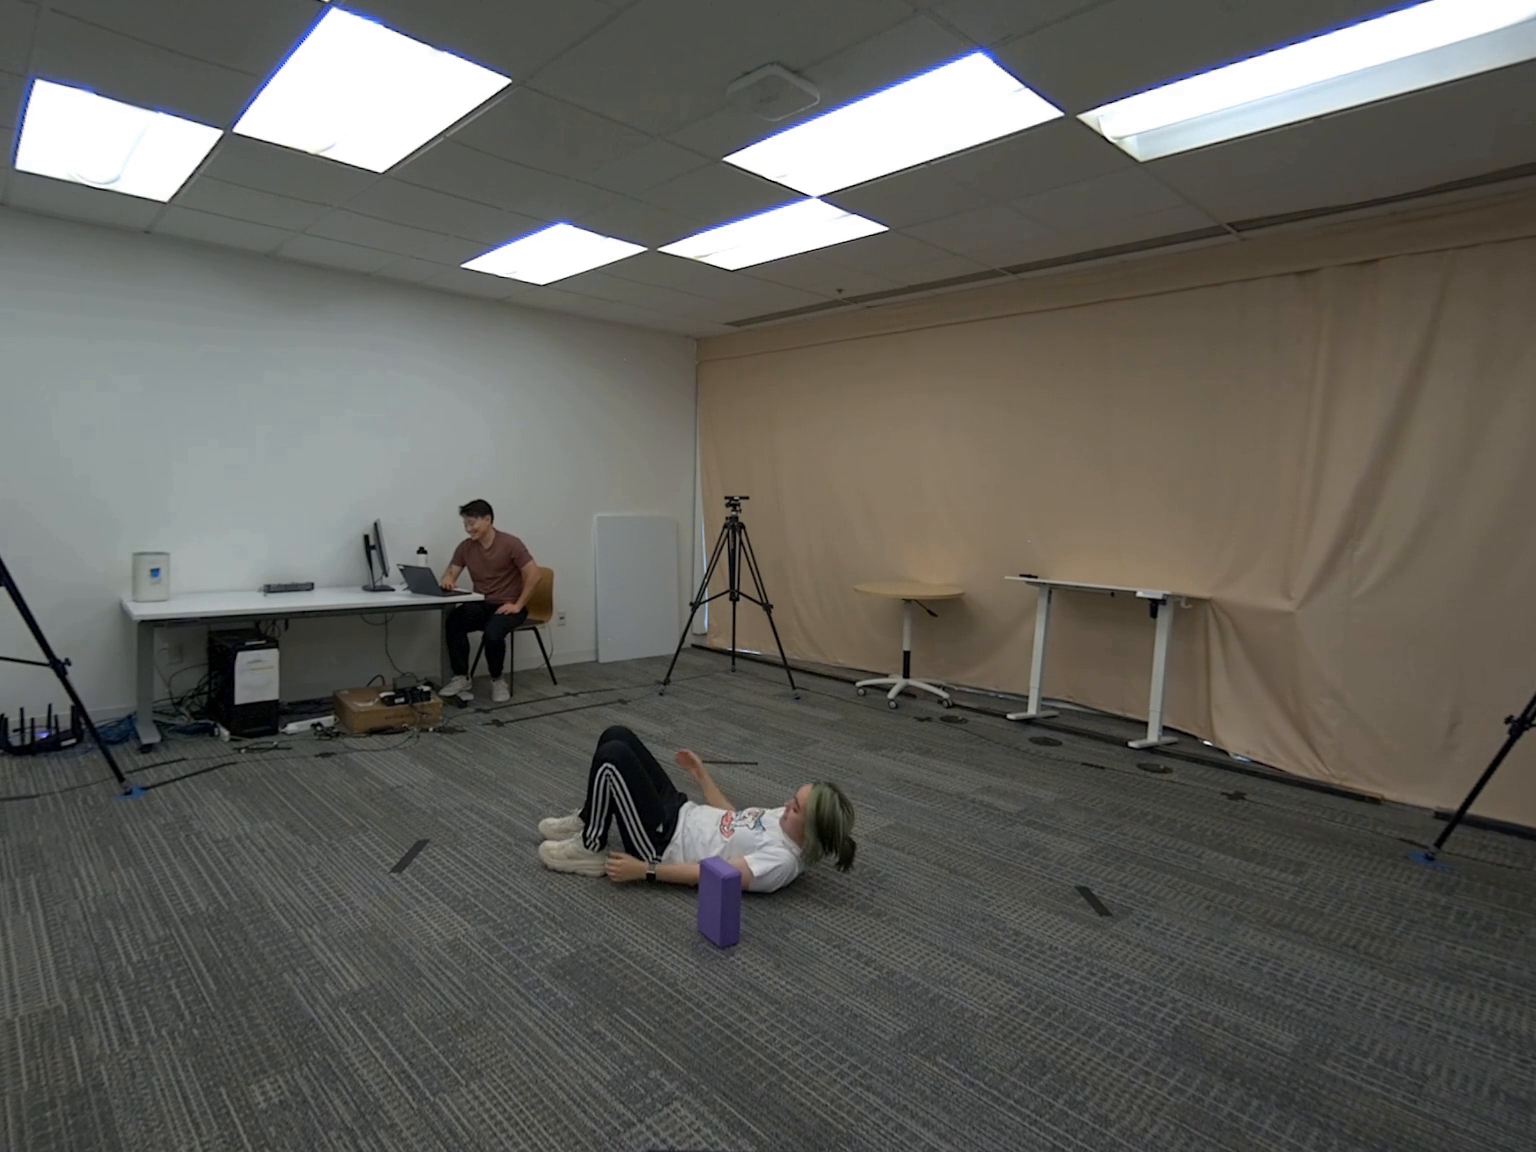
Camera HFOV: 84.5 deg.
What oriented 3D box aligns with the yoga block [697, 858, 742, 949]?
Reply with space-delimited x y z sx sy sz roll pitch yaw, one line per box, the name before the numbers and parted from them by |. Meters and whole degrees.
yoga block | -0.160 1.027 2.651 0.075 0.229 0.153 1 3 -37
